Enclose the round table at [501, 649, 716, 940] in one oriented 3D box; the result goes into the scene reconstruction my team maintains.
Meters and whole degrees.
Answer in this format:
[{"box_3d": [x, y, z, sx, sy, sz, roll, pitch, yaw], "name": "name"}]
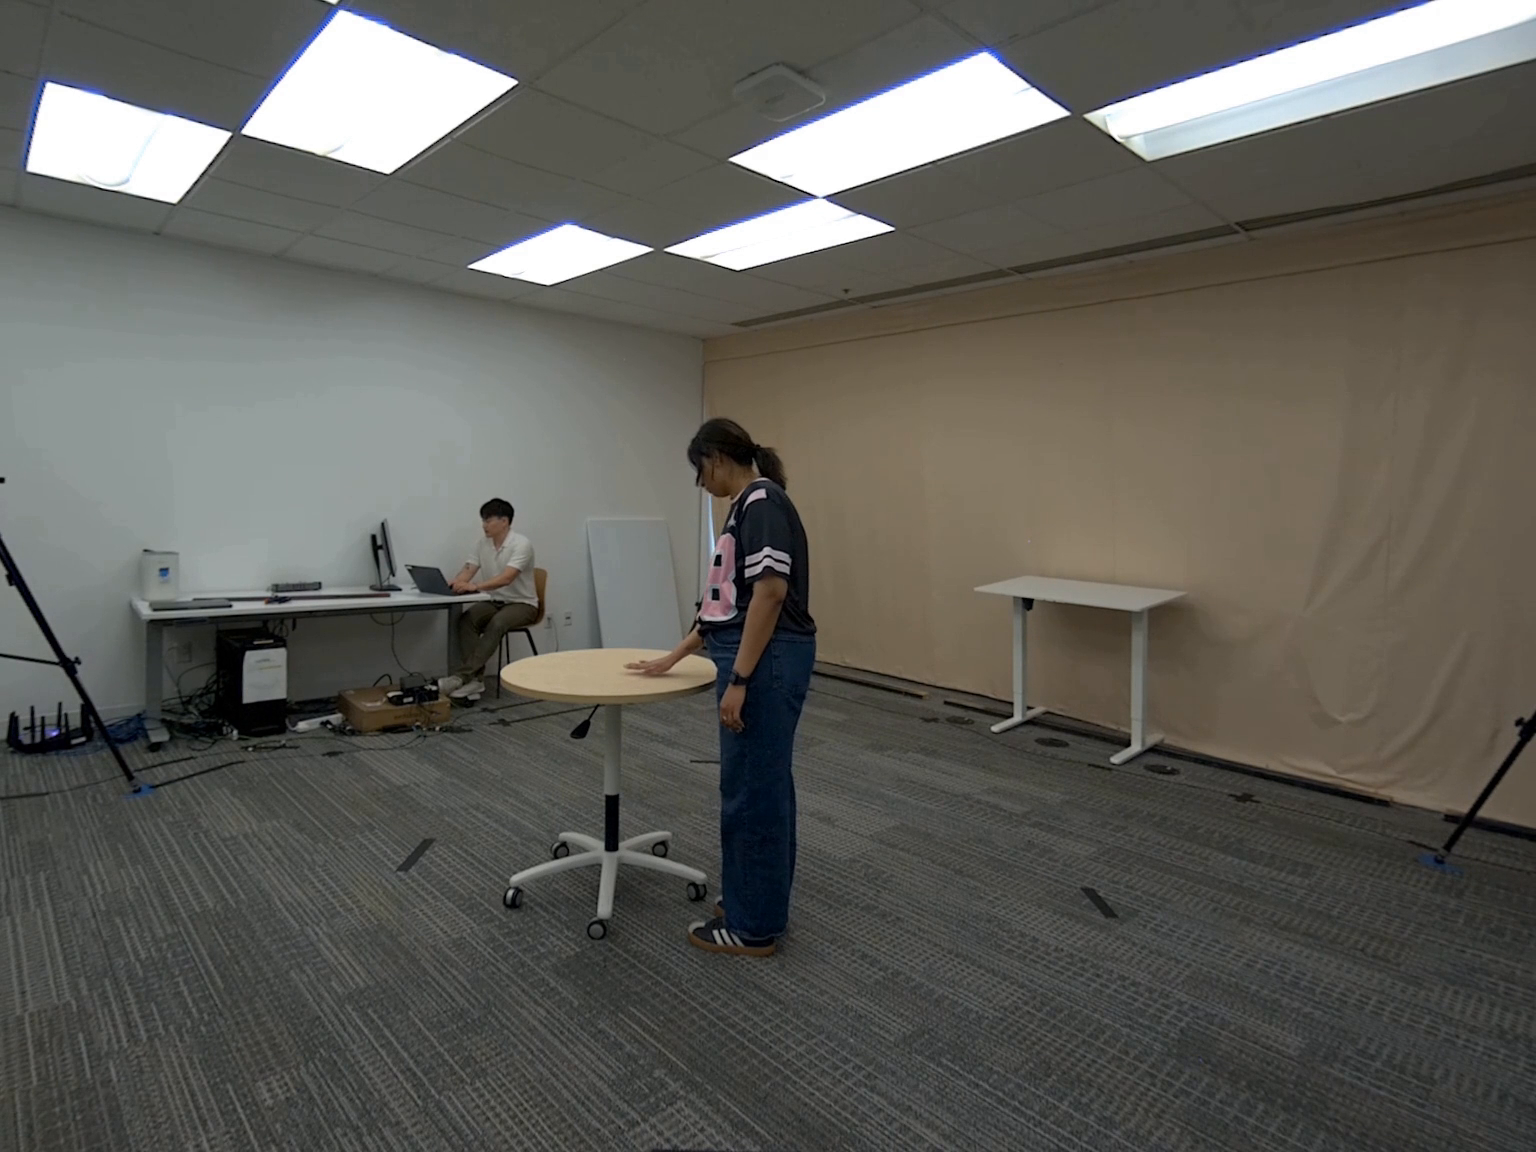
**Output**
[{"box_3d": [-0.560, 0.718, 2.948, 0.784, 0.784, 0.788, 1, 4, -1], "name": "round table"}]
